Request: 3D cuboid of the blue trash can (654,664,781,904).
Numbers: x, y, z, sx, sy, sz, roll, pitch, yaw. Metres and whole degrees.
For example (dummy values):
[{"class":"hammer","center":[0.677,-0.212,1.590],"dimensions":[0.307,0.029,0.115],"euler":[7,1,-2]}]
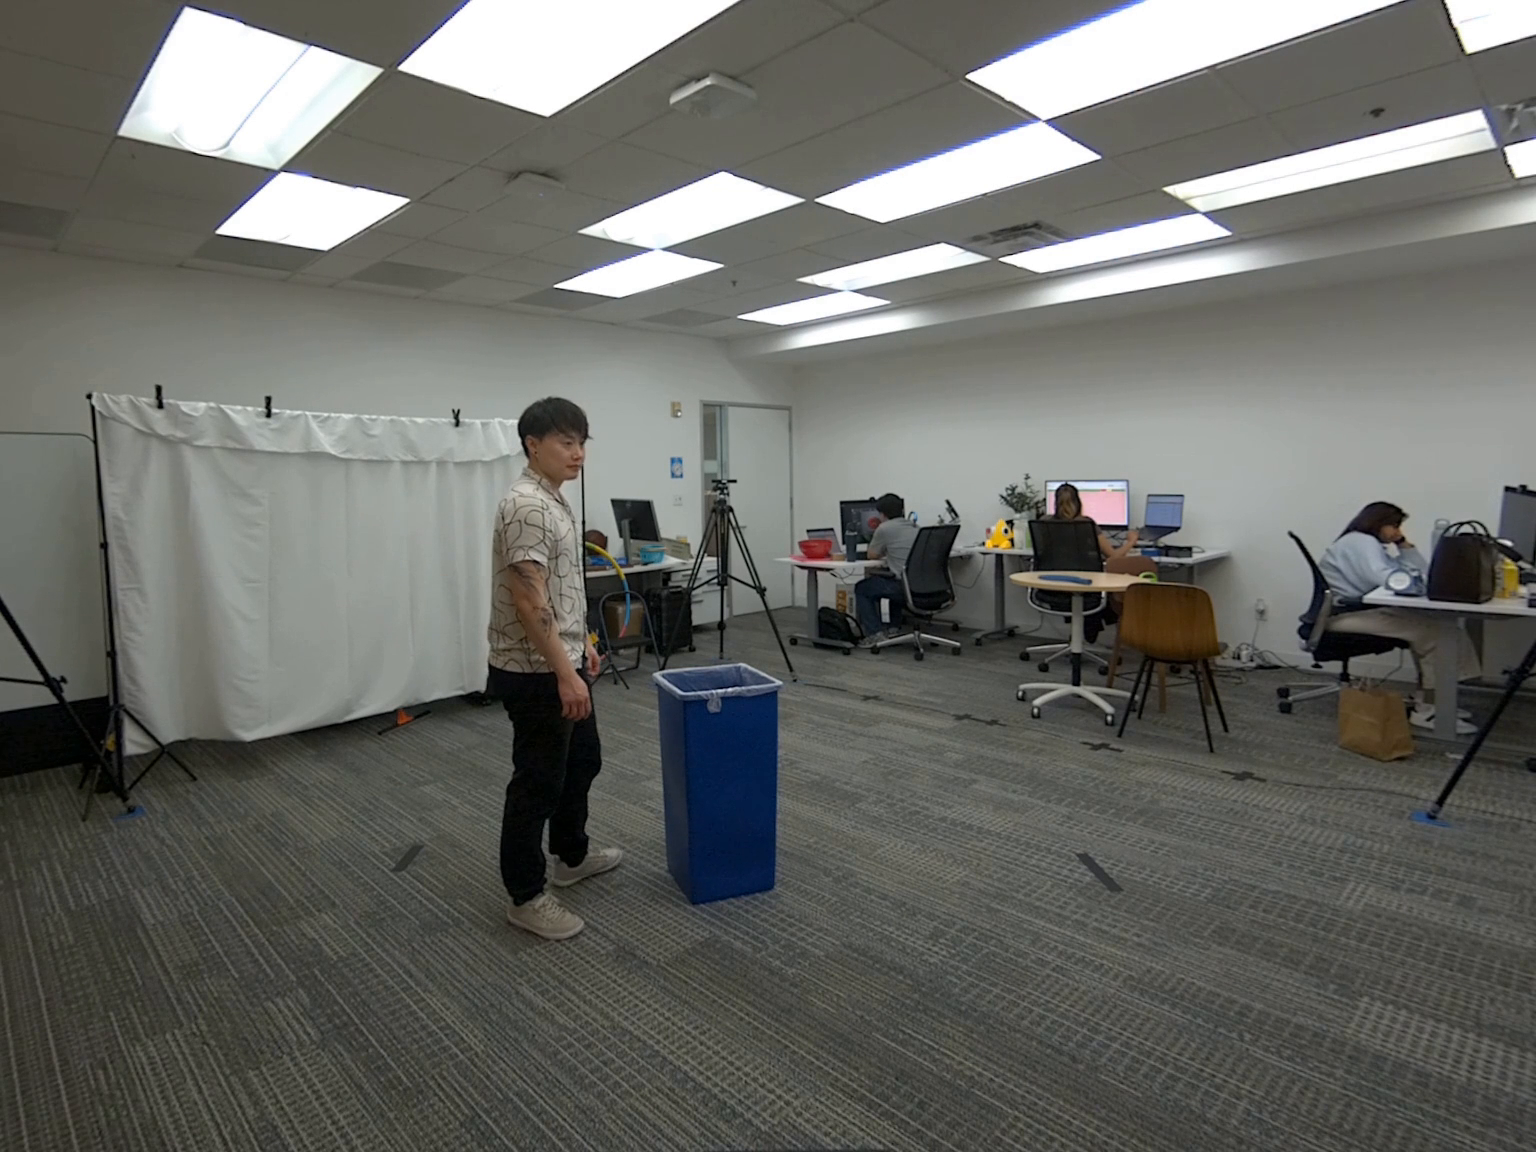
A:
[{"class":"blue trash can","center":[-0.170,0.704,2.989],"dimensions":[0.367,0.711,0.387],"euler":[-3,4,-23]}]
